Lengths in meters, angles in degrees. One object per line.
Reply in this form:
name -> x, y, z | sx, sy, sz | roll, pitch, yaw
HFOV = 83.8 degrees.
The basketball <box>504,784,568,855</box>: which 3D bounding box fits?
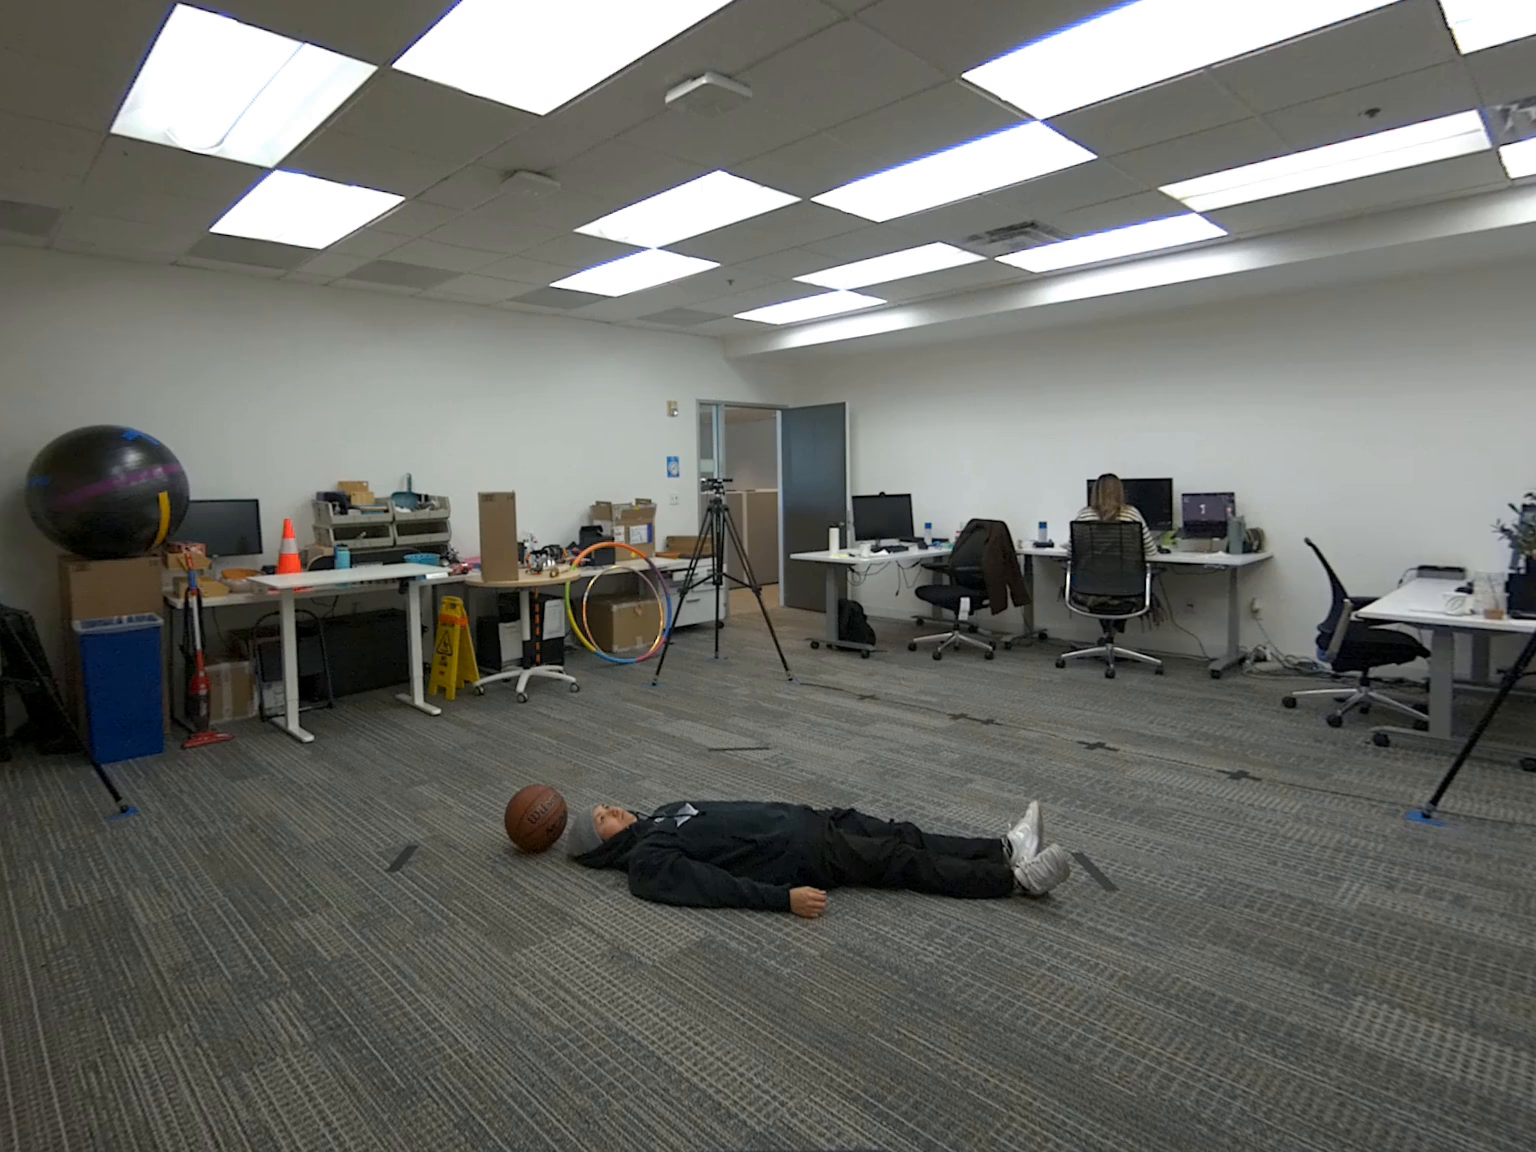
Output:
basketball -> -0.872, 0.916, 3.268 | 0.236, 0.235, 0.237 | -1, 5, -2
